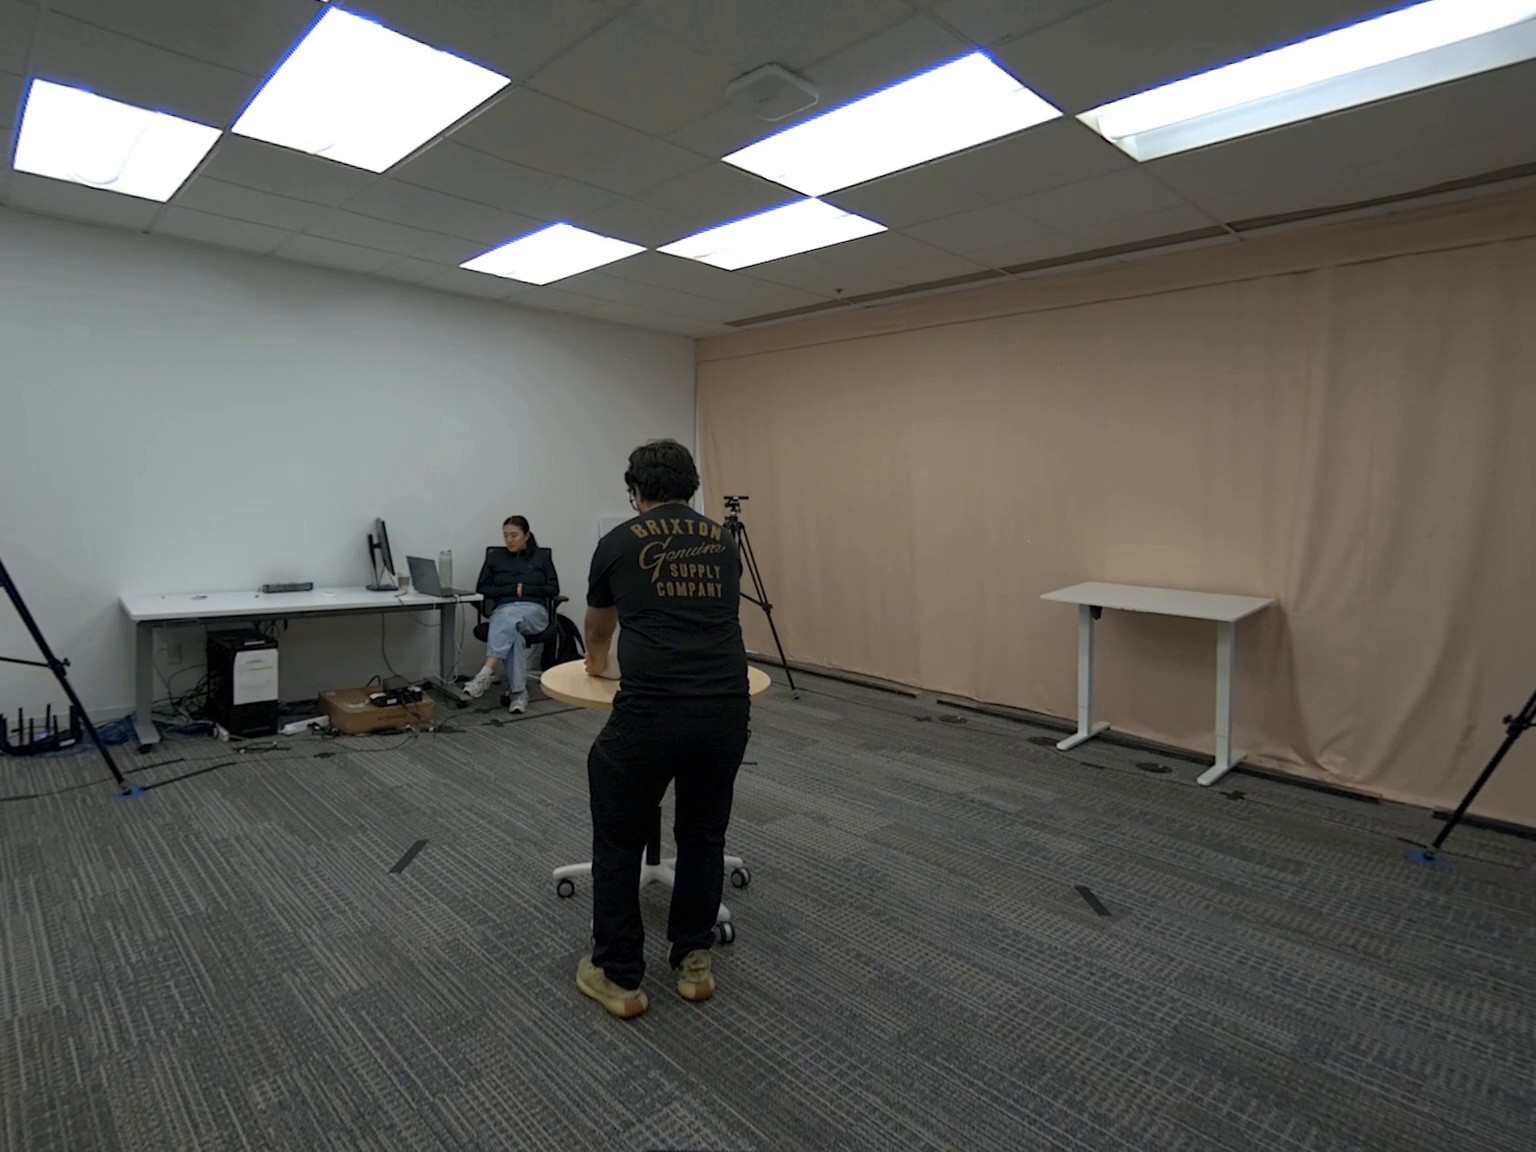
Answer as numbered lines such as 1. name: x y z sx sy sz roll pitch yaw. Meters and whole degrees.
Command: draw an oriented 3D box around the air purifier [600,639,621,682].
1. air purifier: -0.502 0.206 2.829 0.176 0.265 0.167 3 5 41
